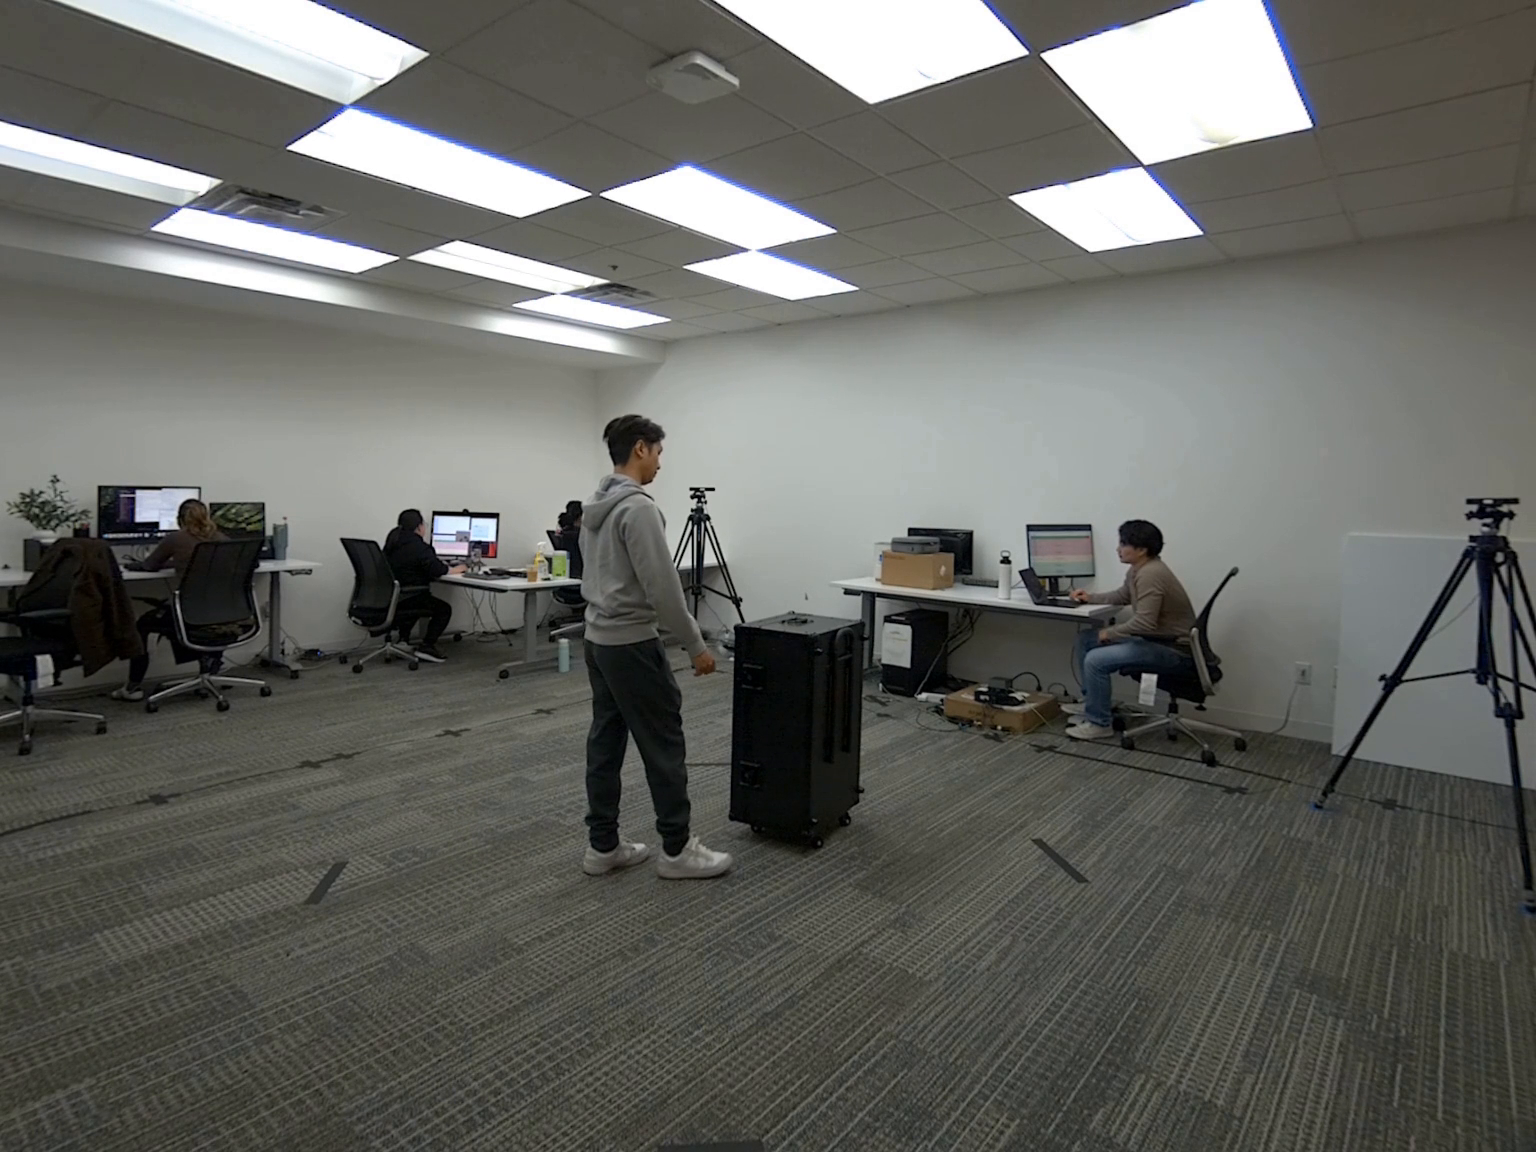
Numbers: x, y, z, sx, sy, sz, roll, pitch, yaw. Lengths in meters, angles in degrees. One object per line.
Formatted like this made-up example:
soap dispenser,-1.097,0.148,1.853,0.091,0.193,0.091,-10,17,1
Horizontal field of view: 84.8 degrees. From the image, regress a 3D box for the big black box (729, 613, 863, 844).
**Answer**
big black box,0.130,0.612,3.485,0.408,0.858,0.508,4,5,30
